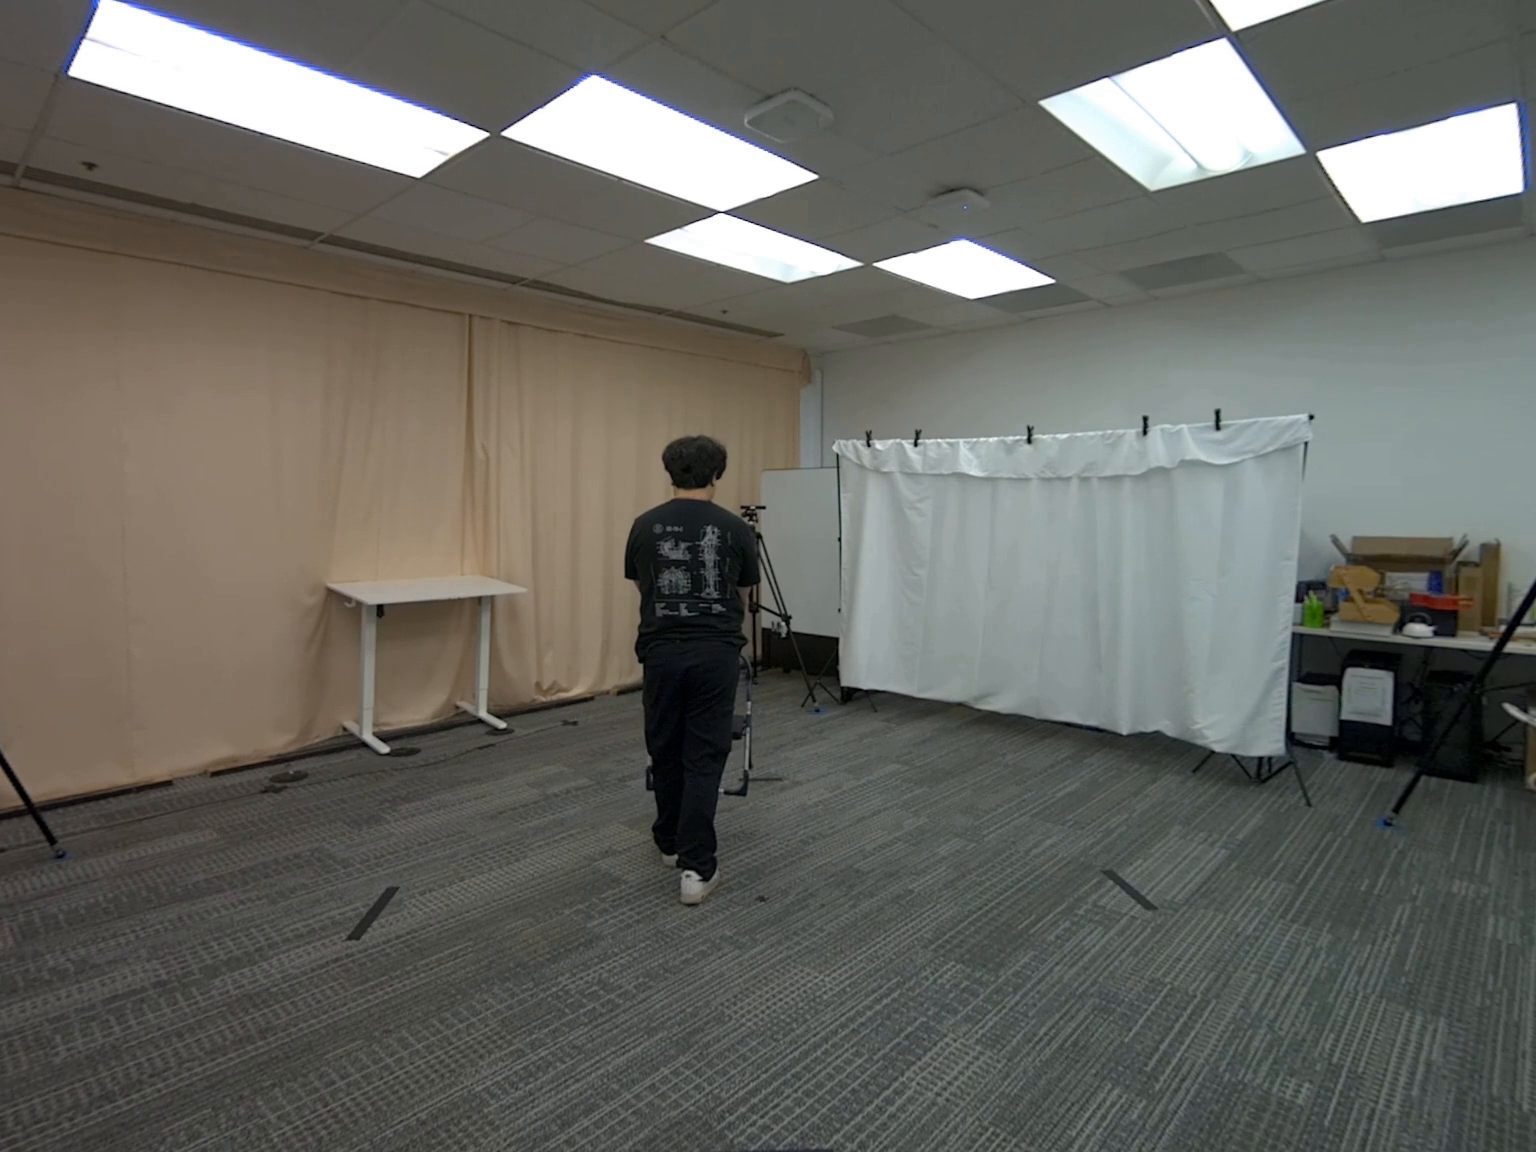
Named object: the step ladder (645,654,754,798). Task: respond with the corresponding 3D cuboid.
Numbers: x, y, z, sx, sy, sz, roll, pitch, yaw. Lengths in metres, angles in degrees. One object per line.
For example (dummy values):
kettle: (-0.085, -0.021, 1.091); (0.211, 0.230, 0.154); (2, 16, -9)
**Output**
step ladder: (-0.279, 0.561, 3.533); (0.432, 0.603, 0.349); (1, 7, 2)
